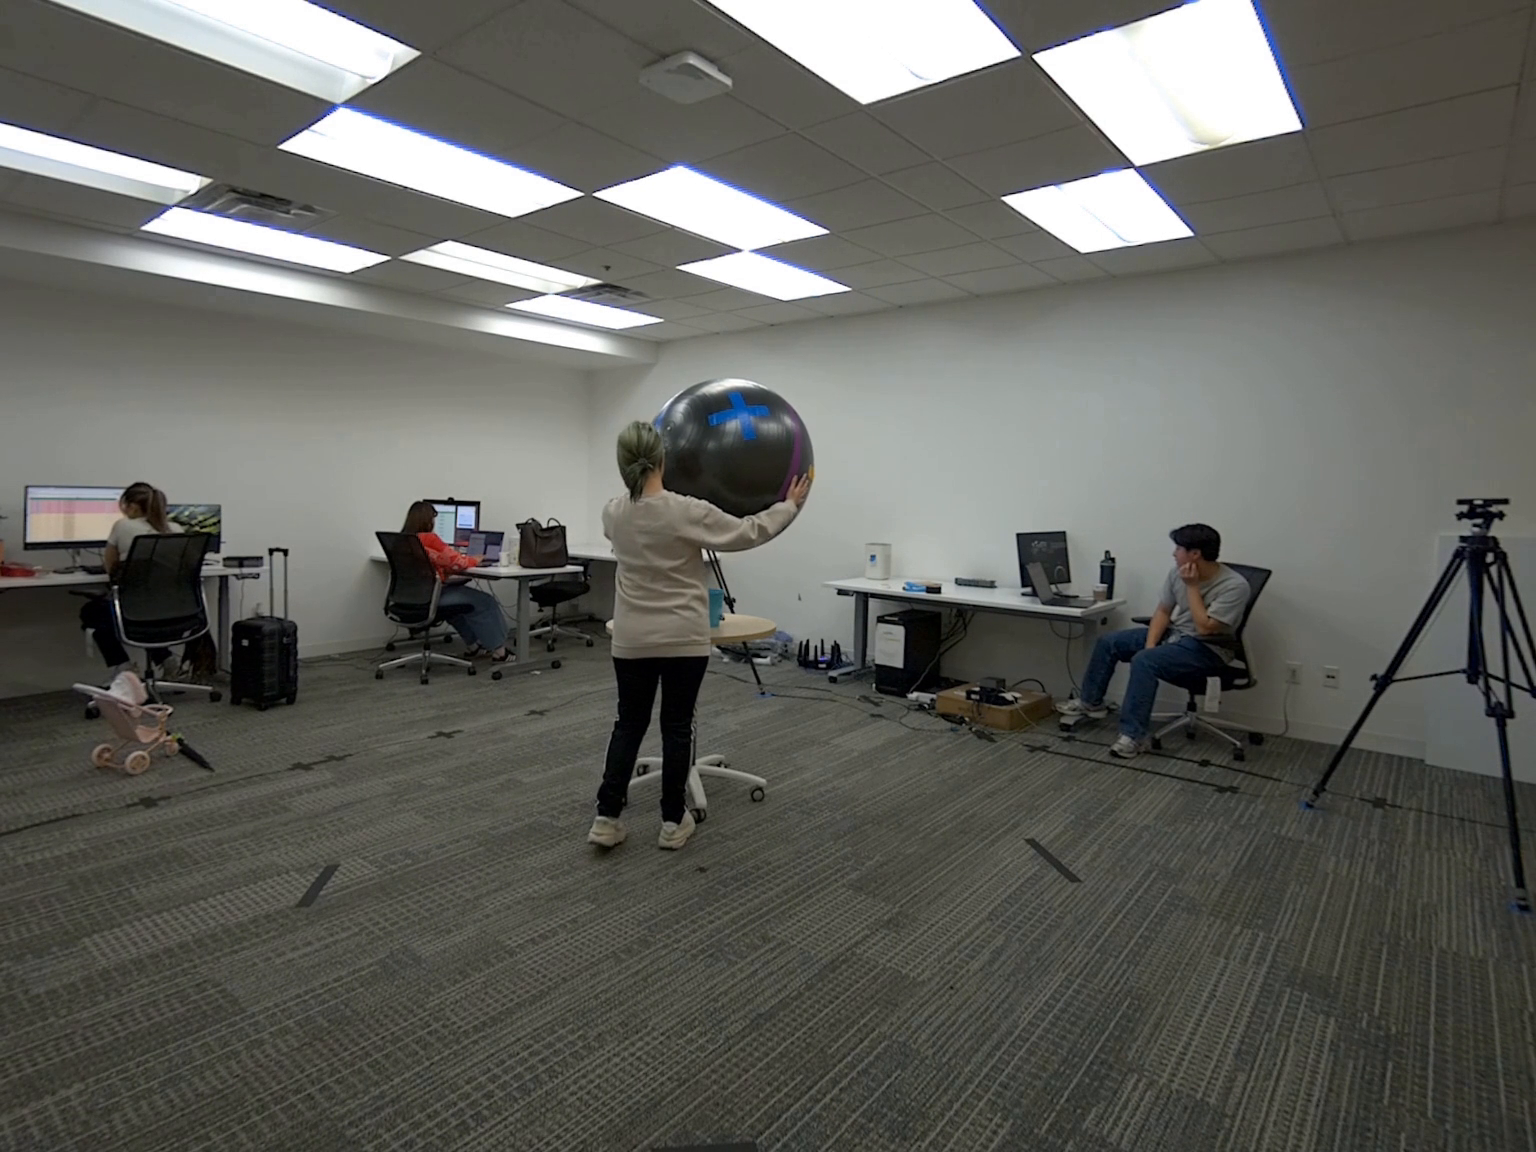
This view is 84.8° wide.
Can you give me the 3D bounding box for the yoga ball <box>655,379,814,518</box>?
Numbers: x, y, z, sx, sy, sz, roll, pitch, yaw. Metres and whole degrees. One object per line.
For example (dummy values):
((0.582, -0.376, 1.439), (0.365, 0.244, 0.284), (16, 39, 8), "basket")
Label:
((-0.183, -0.486, 3.739), (0.757, 0.756, 0.762), (1, 4, -2), "yoga ball")
